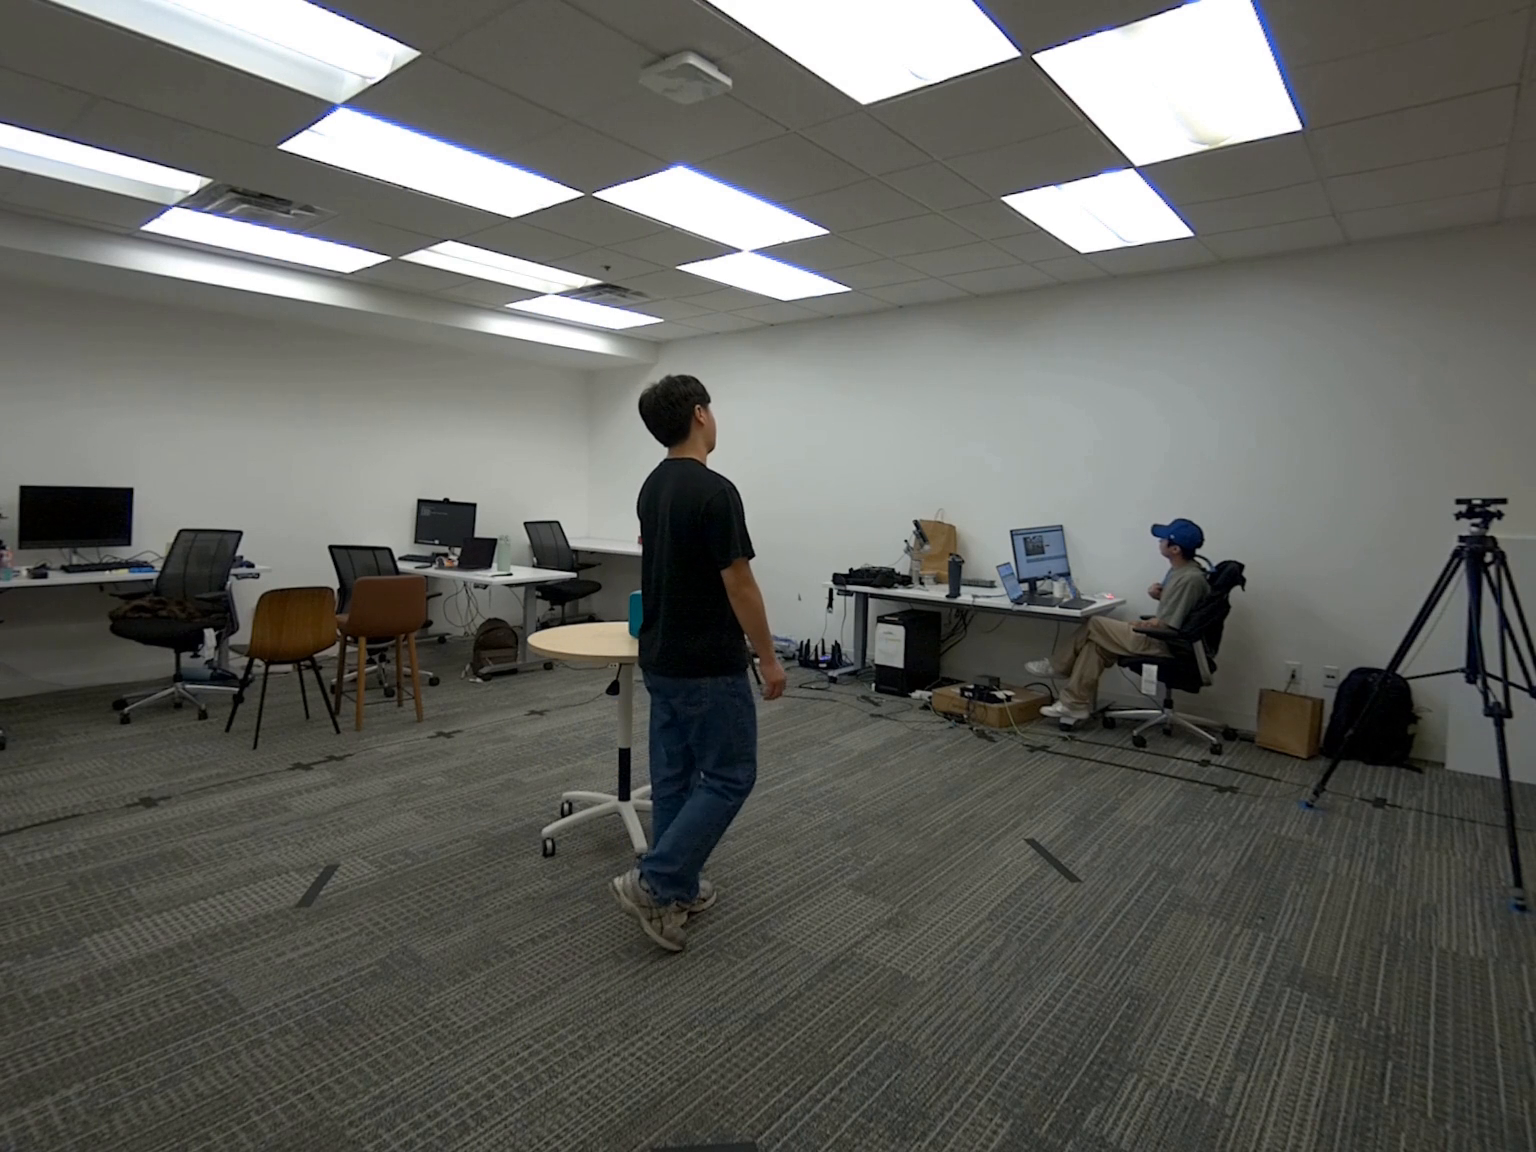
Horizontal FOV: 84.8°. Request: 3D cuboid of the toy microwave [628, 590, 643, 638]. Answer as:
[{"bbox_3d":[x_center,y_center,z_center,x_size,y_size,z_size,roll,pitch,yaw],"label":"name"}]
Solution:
[{"bbox_3d":[-0.404,0.148,3.379,0.290,0.184,0.150,2,3,13],"label":"toy microwave"}]
